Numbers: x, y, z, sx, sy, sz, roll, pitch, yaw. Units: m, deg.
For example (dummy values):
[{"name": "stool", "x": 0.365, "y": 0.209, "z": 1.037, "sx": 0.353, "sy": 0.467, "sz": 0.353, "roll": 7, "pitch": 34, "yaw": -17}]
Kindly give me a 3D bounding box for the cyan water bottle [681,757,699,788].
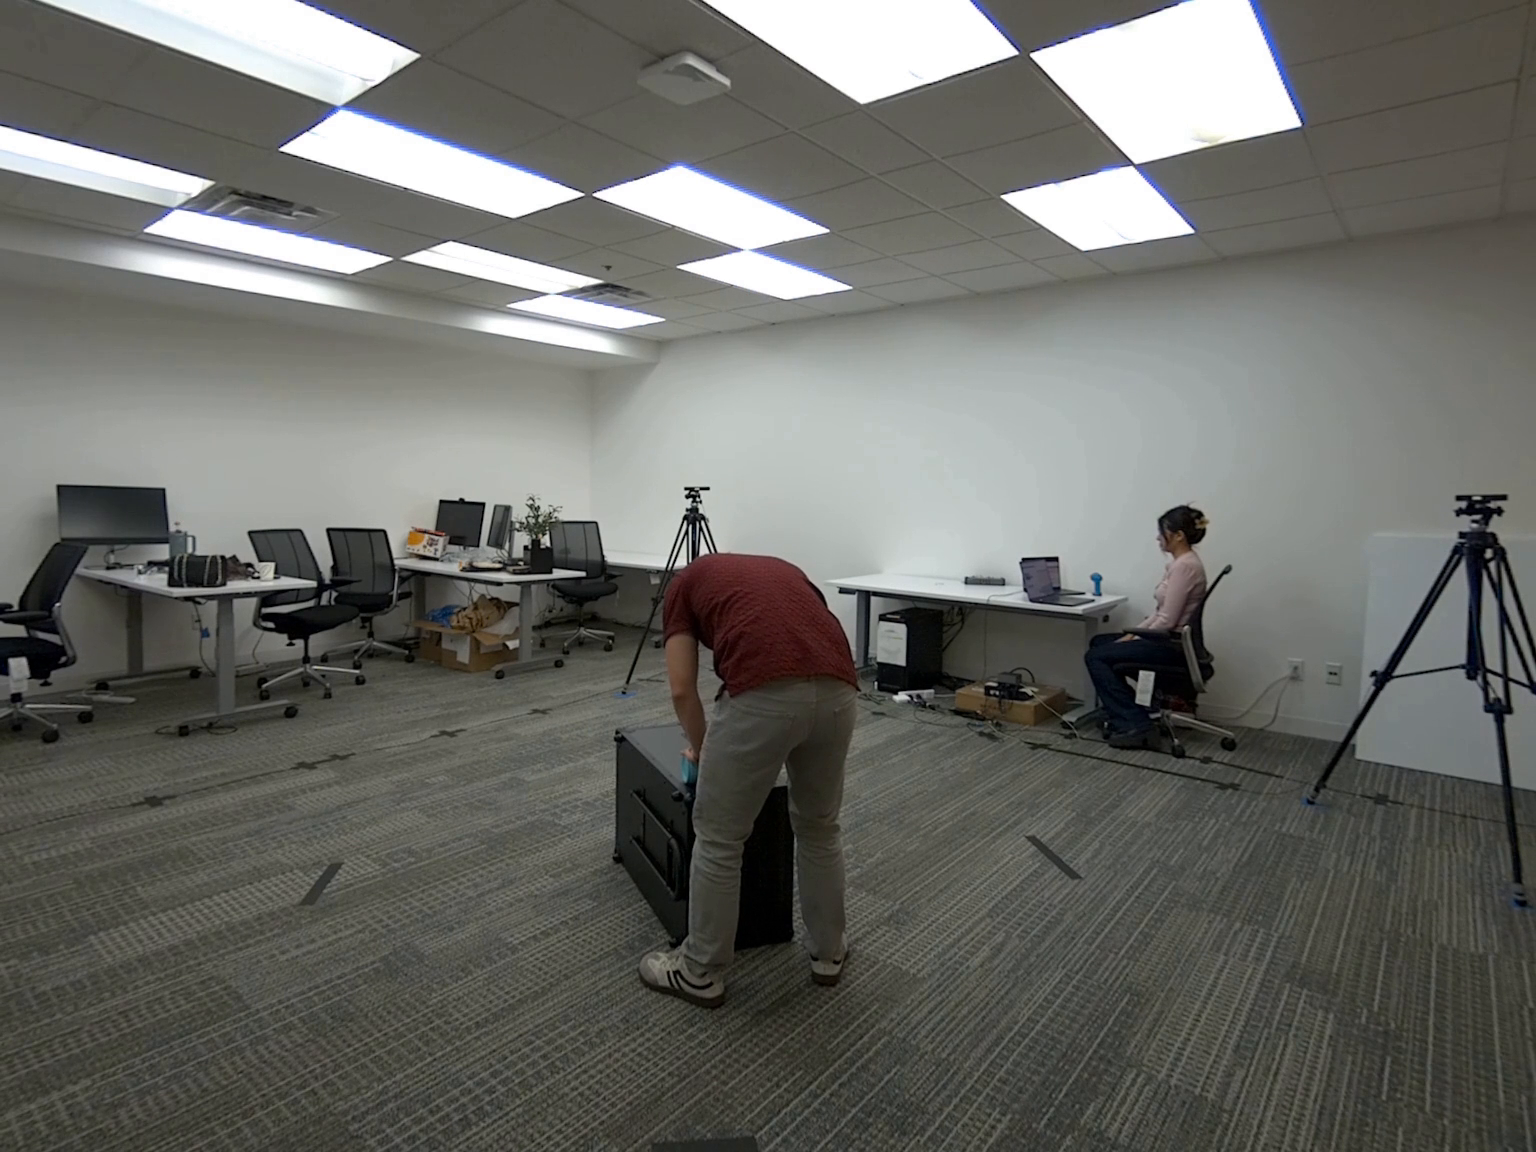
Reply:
[{"name": "cyan water bottle", "x": -0.140, "y": 0.591, "z": 2.643, "sx": 0.279, "sy": 0.092, "sz": 0.094, "roll": -3, "pitch": 5, "yaw": -14}]
